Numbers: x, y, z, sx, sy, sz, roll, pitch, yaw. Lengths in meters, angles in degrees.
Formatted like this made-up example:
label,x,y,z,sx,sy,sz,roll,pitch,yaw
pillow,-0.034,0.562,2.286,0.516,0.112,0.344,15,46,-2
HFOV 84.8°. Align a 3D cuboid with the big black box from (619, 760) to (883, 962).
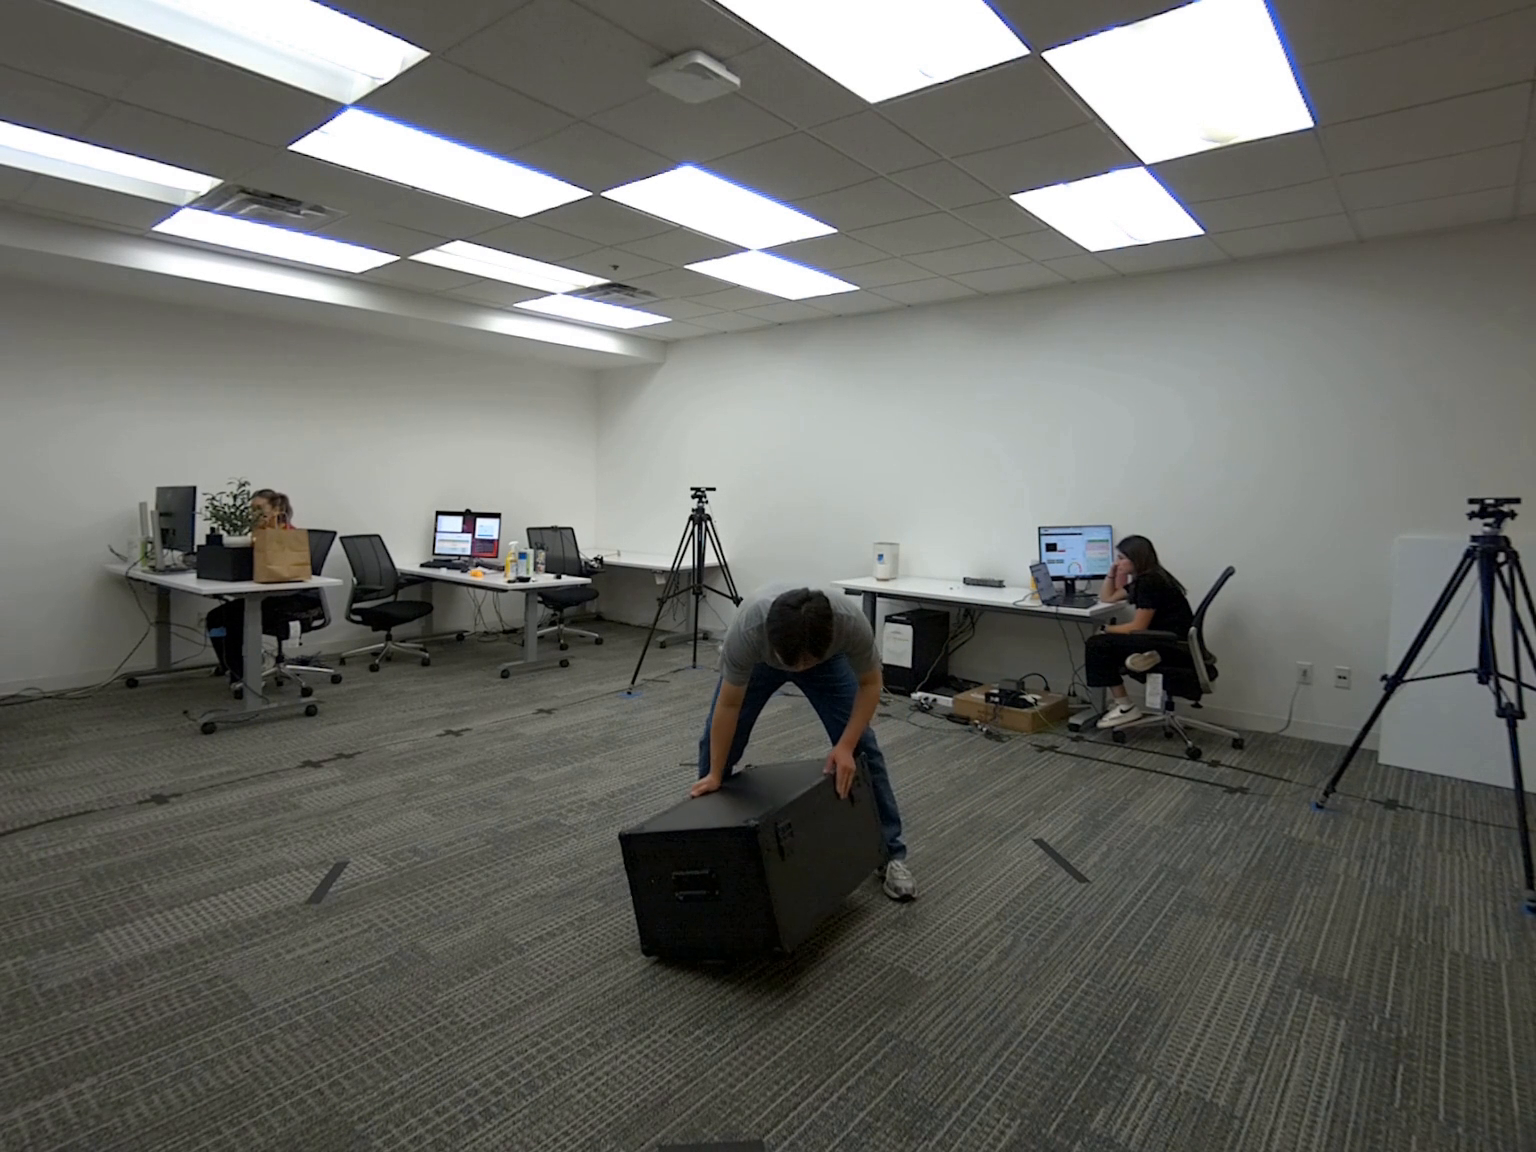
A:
label,x,y,z,sx,sy,sz,roll,pitch,yaw
big black box,-0.010,0.866,2.724,0.532,0.399,0.839,-15,-4,30
